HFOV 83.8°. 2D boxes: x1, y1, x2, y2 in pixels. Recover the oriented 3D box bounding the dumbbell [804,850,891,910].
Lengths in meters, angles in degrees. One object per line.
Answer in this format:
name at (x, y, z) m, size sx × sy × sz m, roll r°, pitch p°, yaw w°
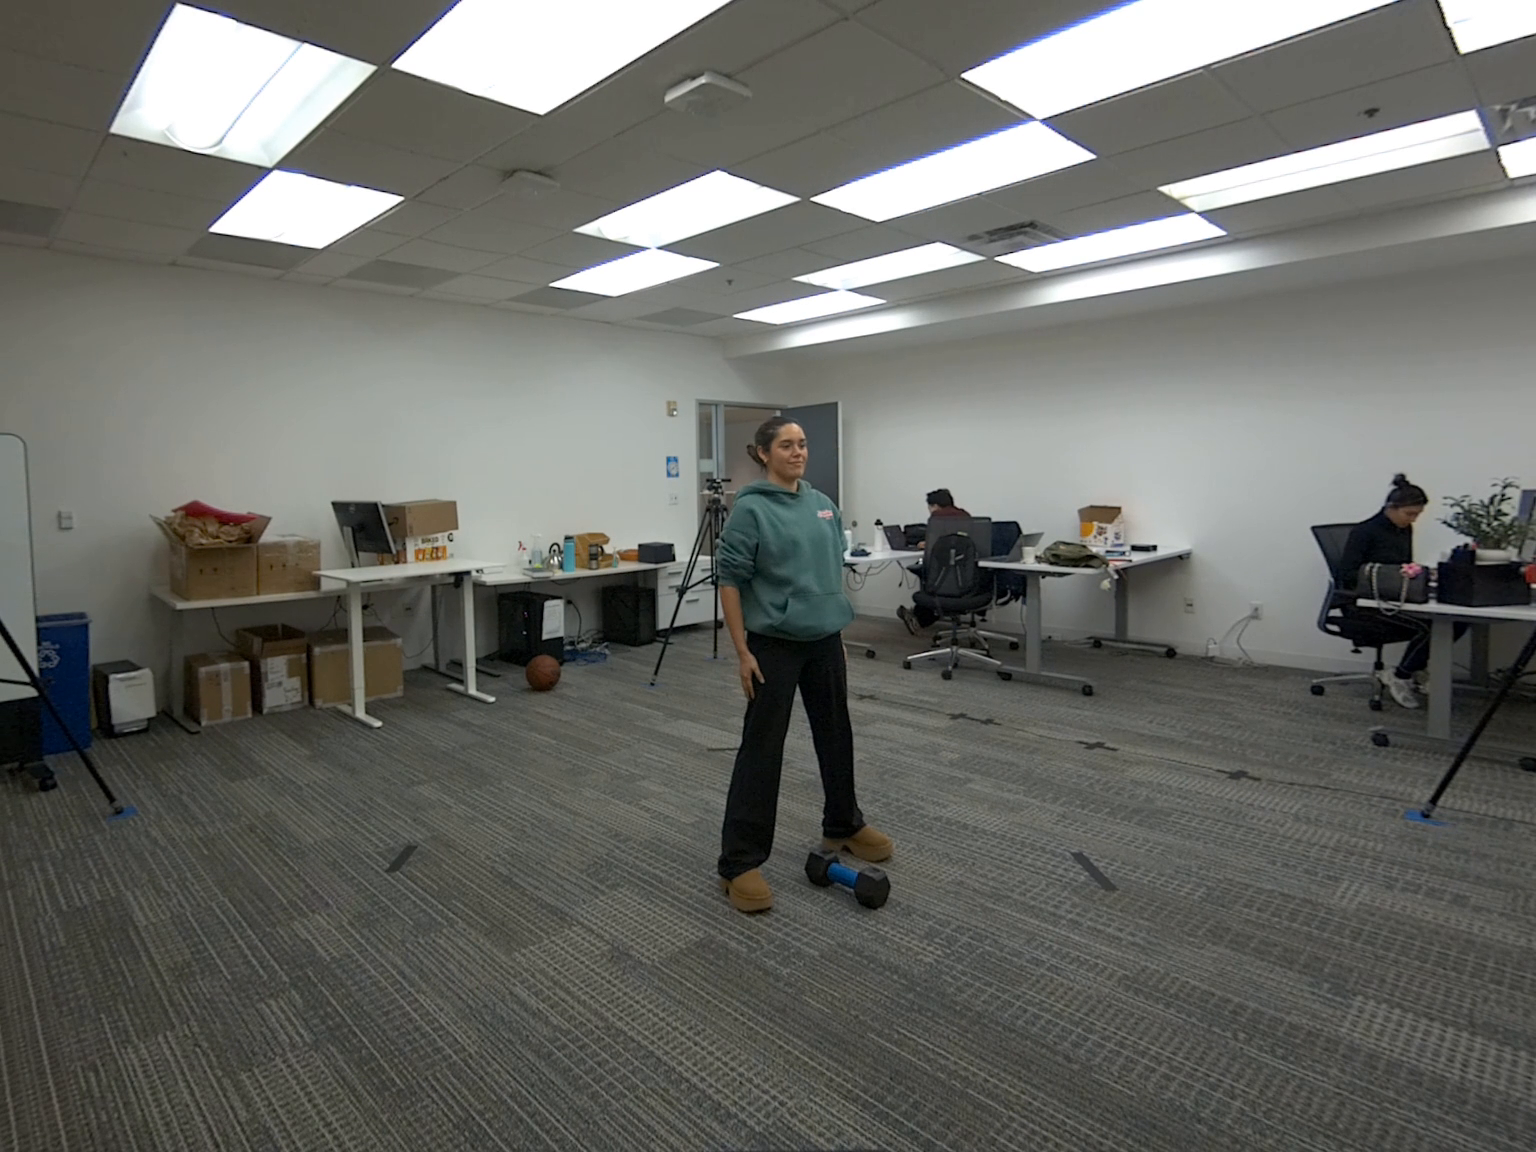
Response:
dumbbell at (0.267, 1.008, 2.868) m, size 0.119 × 0.108 × 0.302 m, roll -2°, pitch 5°, yaw -44°
